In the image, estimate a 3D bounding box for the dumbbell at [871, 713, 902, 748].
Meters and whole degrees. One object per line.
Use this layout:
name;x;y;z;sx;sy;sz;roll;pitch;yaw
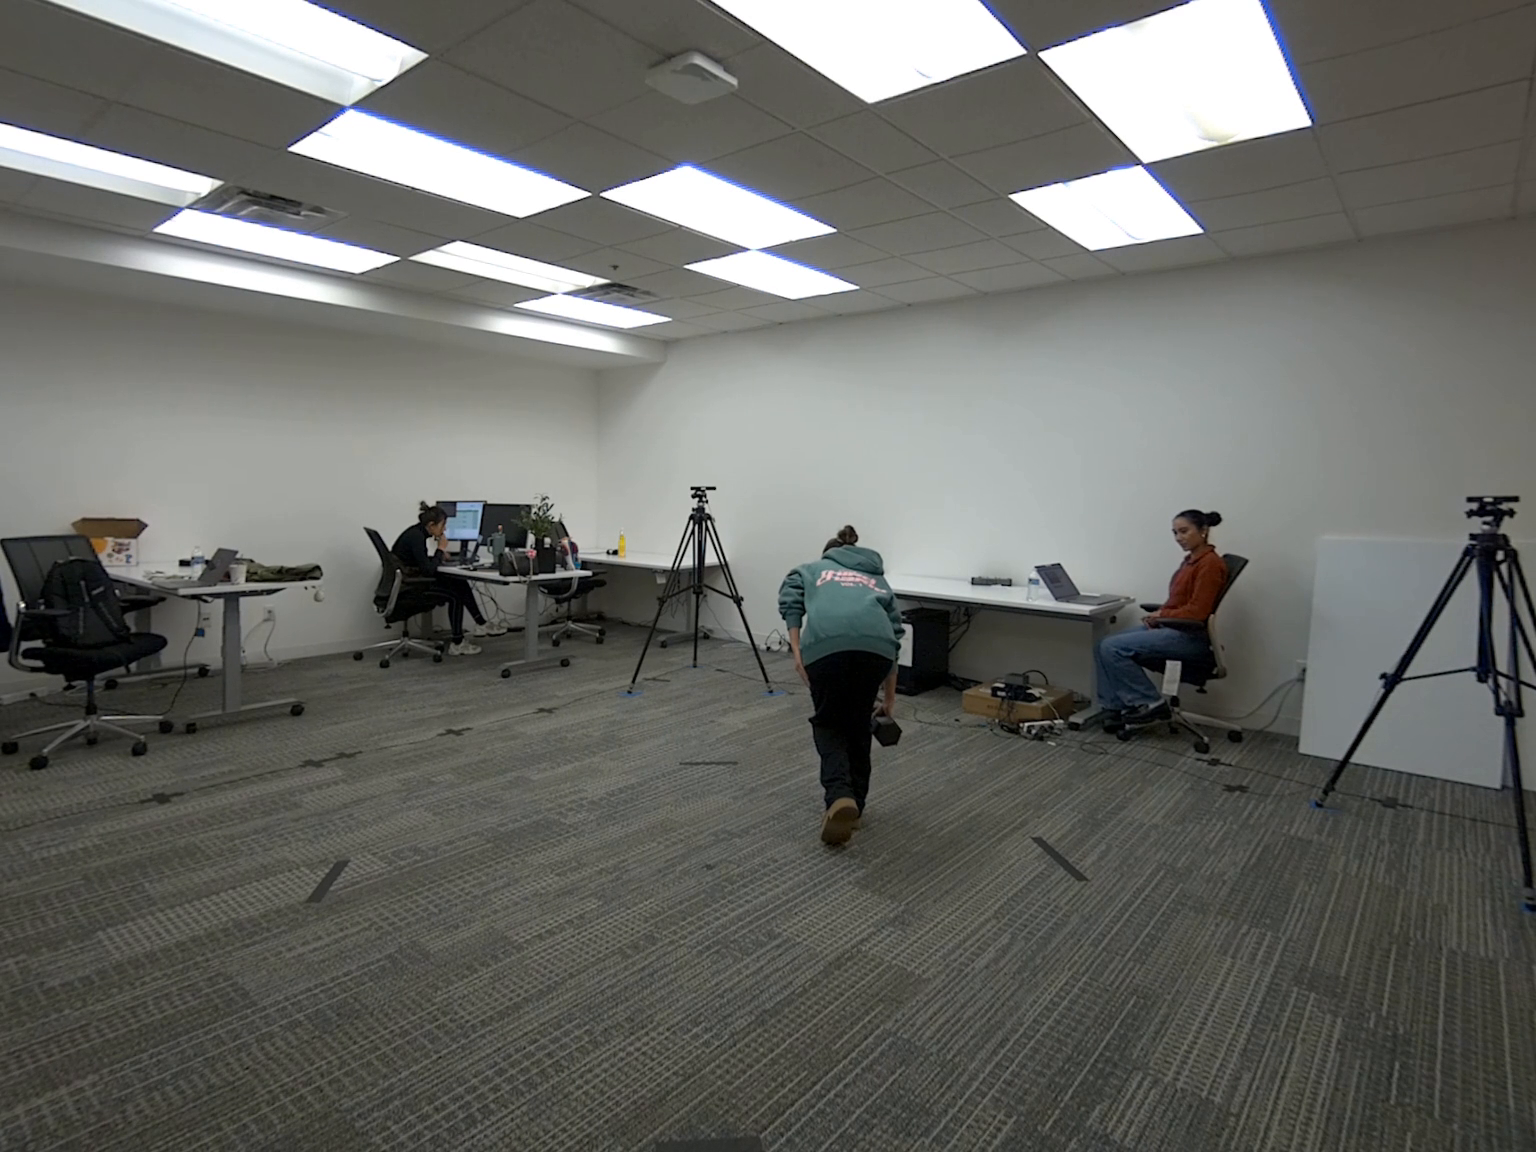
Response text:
dumbbell;0.474;0.632;3.676;0.108;0.123;0.297;22;4;-9
